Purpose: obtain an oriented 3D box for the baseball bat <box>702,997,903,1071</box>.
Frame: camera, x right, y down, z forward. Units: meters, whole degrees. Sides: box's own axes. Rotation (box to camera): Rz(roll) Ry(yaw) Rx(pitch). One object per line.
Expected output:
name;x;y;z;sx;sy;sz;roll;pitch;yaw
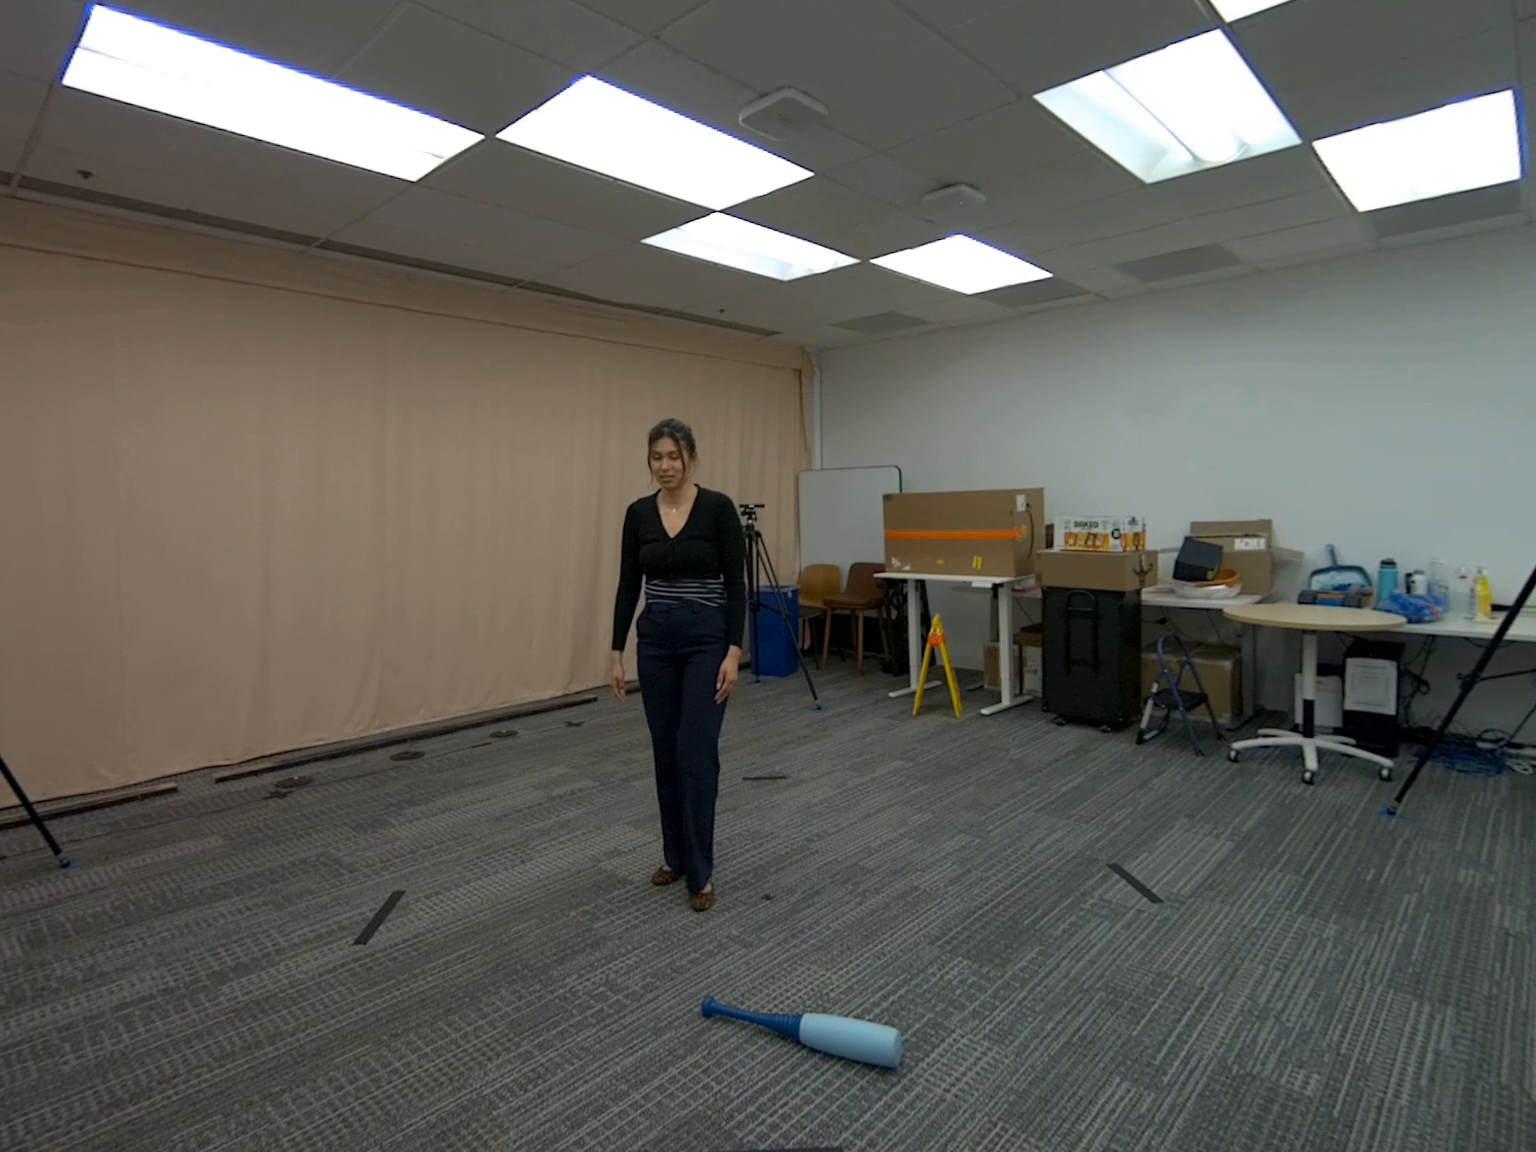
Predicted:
baseball bat;0.076;1.171;2.179;0.556;0.089;0.087;-1;3;25
